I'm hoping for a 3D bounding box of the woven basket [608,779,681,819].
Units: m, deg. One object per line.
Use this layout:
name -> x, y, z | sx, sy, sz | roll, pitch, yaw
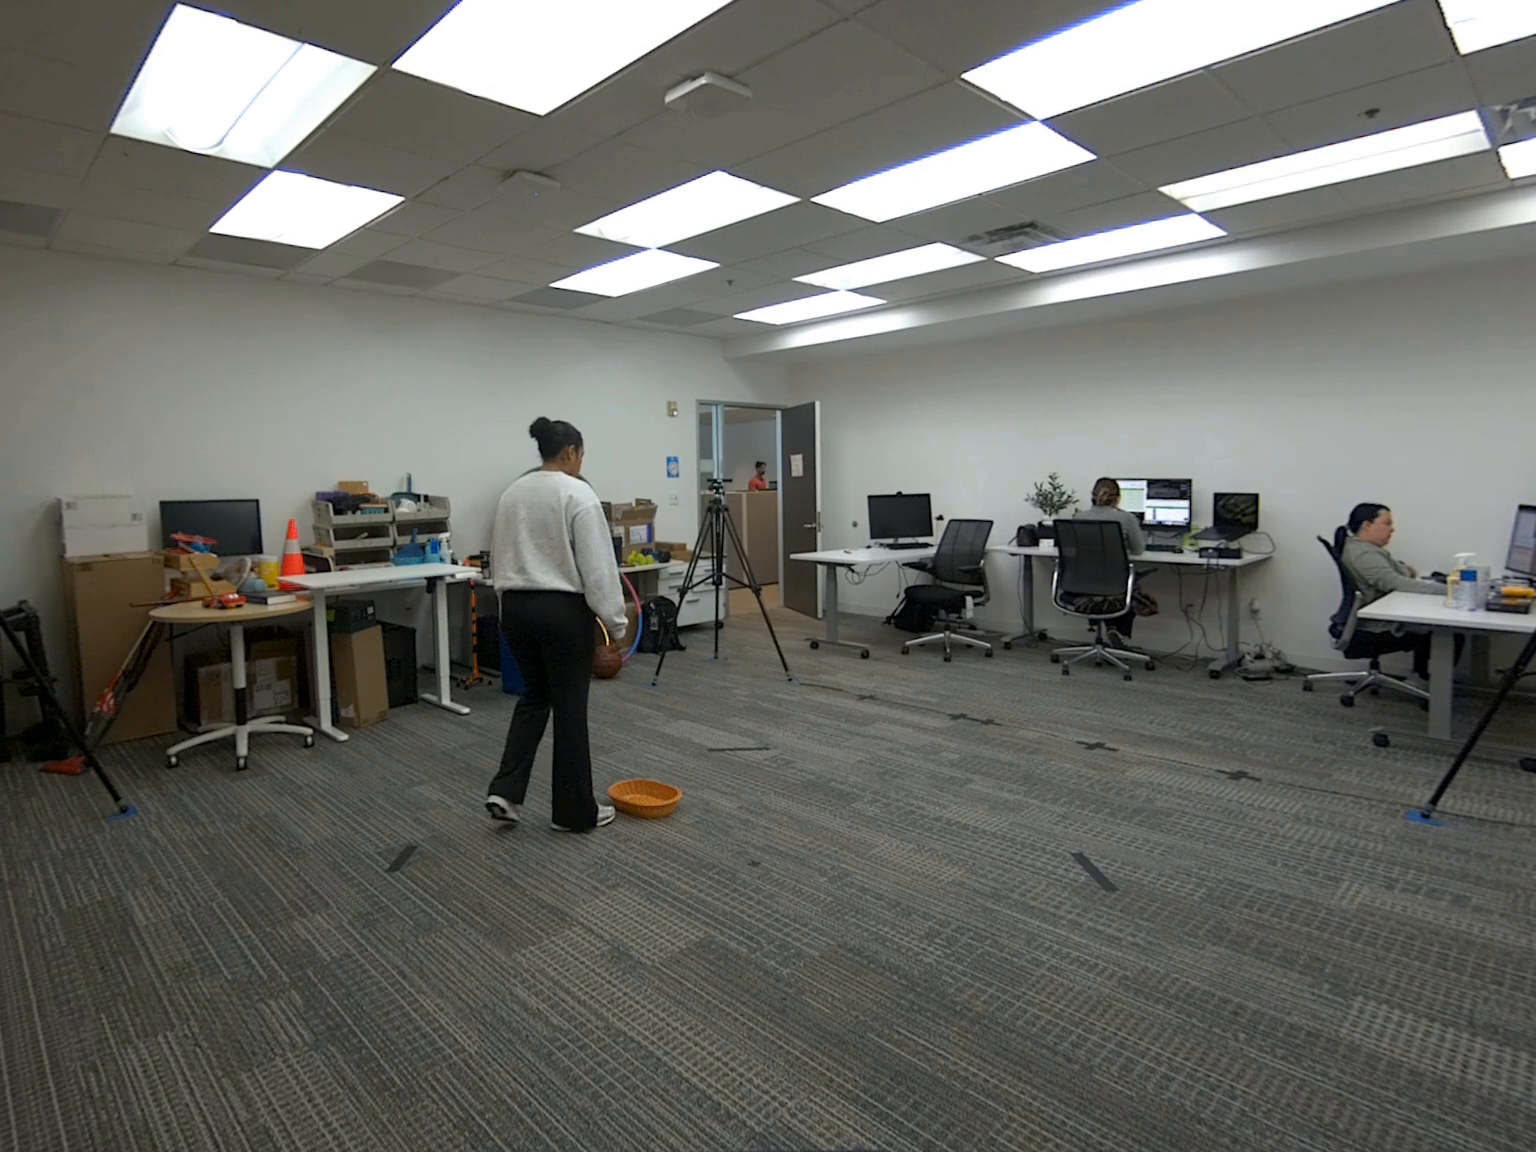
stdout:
woven basket -> -0.529, 0.952, 3.658 | 0.361, 0.073, 0.246 | 6, 9, 44
